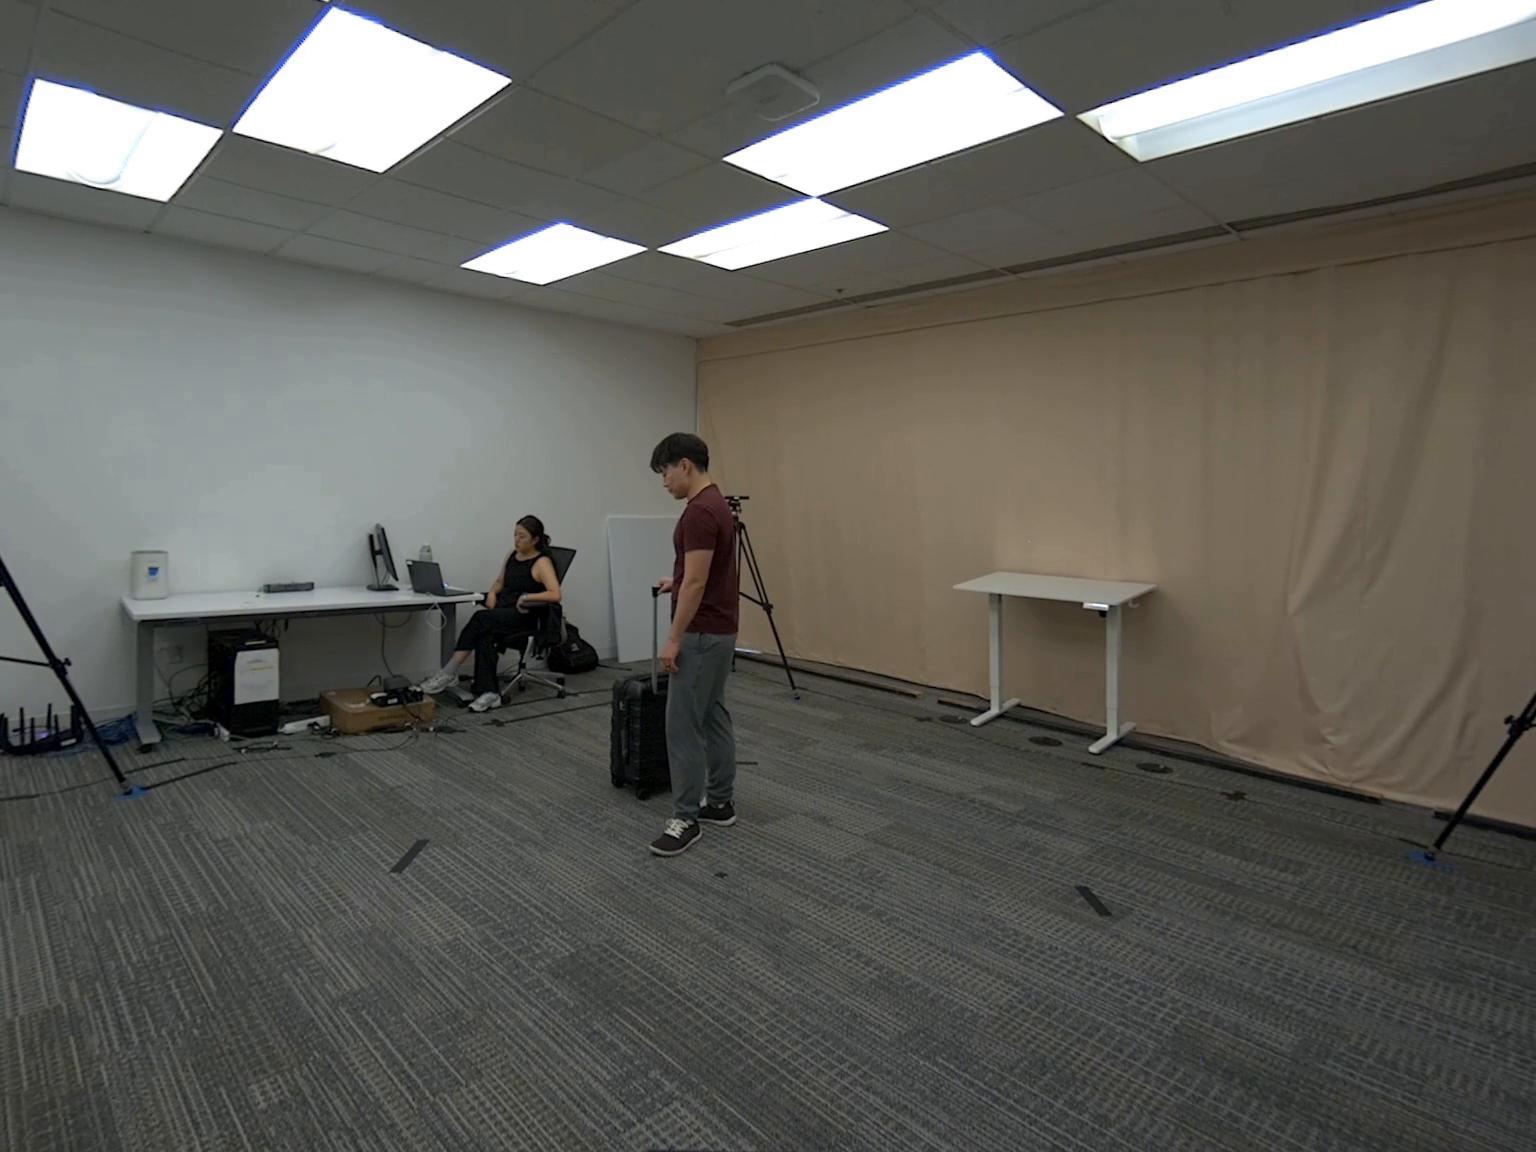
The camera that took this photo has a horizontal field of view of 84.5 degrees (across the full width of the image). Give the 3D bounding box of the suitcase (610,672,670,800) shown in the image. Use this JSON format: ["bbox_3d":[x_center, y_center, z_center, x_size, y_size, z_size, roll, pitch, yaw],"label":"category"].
[{"bbox_3d":[-0.564,0.536,4.018,0.375,0.977,0.263,-2,2,-42],"label":"suitcase"}]
